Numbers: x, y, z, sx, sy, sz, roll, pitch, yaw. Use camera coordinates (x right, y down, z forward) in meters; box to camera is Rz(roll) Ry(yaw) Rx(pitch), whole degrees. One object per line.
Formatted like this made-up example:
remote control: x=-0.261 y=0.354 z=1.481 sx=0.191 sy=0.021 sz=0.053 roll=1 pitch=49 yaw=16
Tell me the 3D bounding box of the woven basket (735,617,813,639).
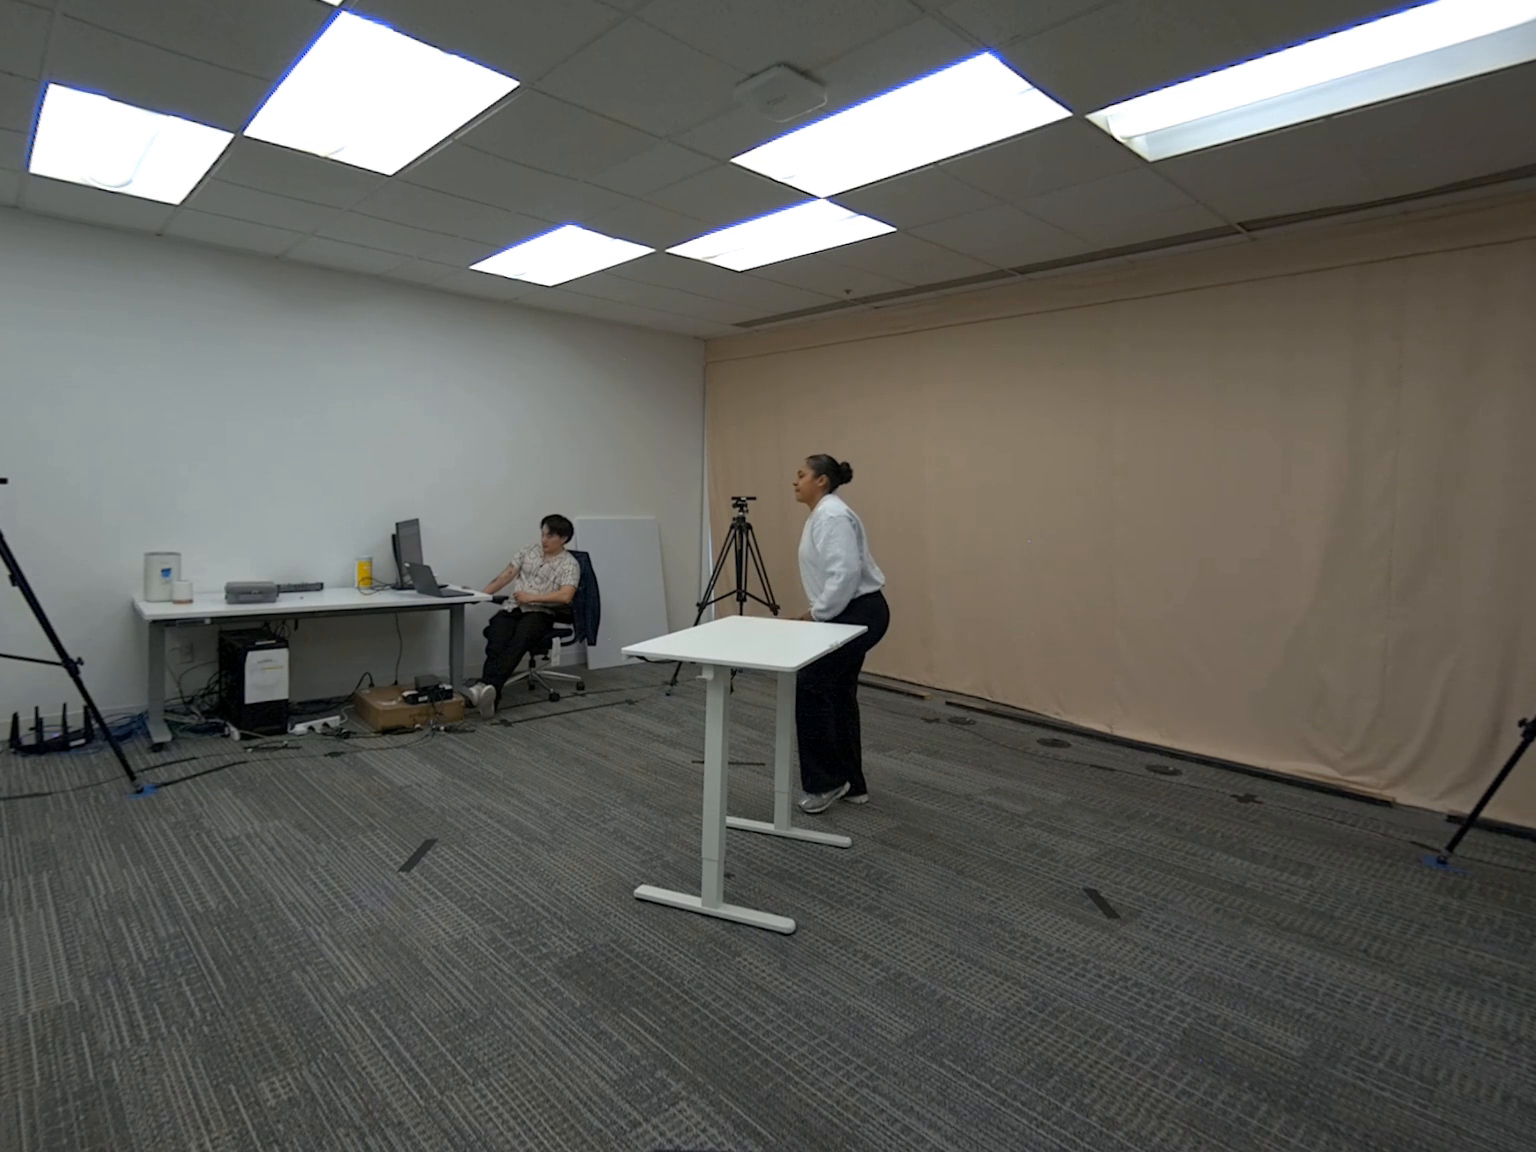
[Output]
woven basket: x=0.023 y=0.243 z=3.969 sx=0.351 sy=0.074 sz=0.251 roll=2 pitch=-6 yaw=1
